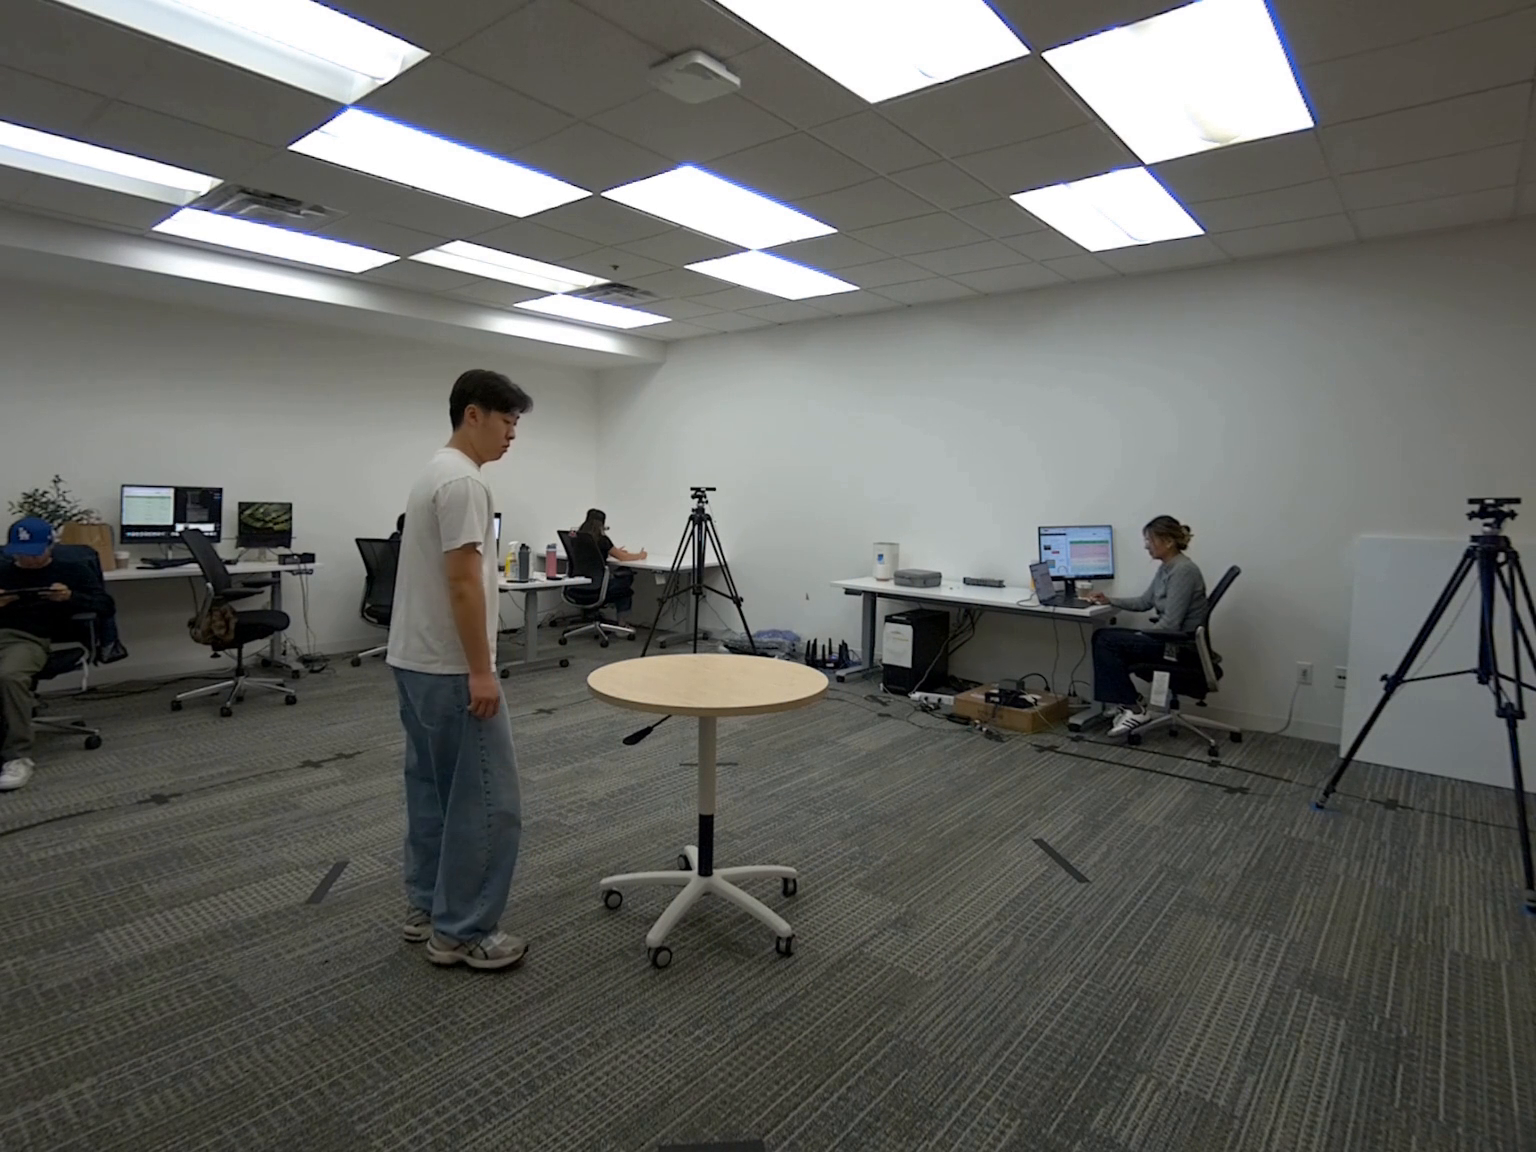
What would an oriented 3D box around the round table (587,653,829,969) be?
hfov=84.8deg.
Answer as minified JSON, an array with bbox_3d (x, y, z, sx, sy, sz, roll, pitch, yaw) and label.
[{"bbox_3d":[-0.209,0.715,2.743,0.763,0.791,0.768,1,4,-2],"label":"round table"}]
